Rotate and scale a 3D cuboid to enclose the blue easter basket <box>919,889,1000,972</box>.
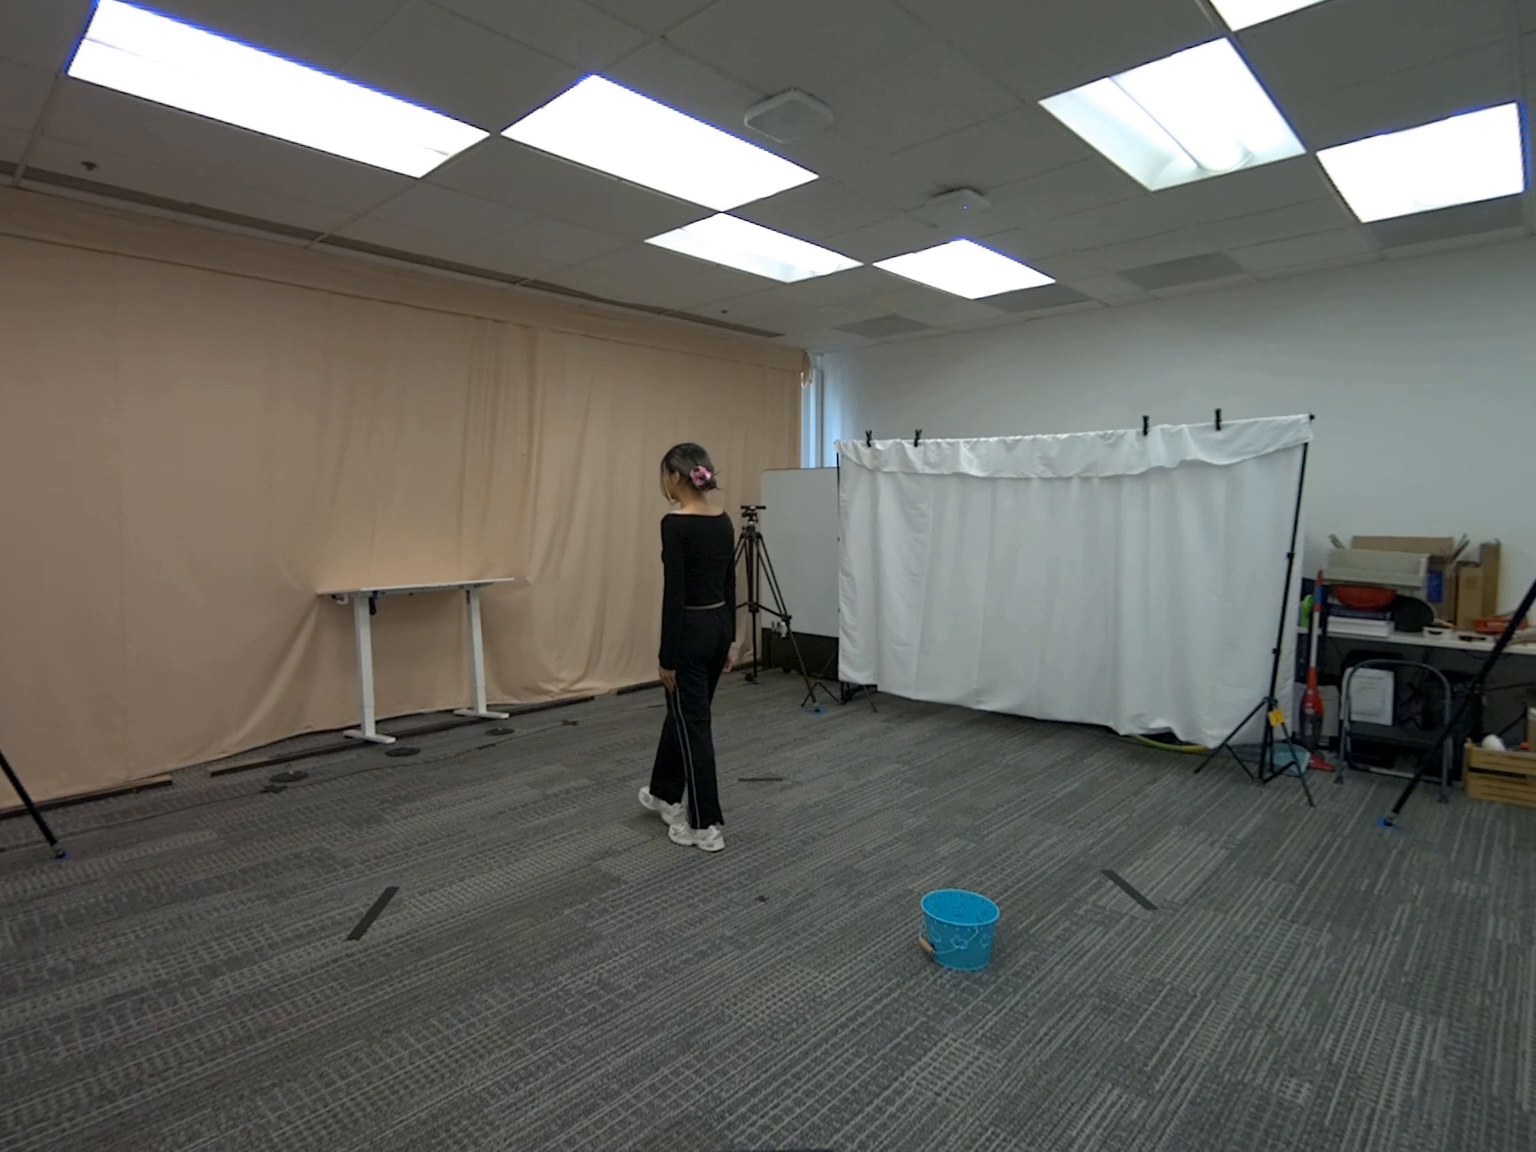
[{"bbox_3d":[0.593,1.093,2.599,0.243,0.155,0.245,0,5,-2],"label":"blue easter basket"}]
